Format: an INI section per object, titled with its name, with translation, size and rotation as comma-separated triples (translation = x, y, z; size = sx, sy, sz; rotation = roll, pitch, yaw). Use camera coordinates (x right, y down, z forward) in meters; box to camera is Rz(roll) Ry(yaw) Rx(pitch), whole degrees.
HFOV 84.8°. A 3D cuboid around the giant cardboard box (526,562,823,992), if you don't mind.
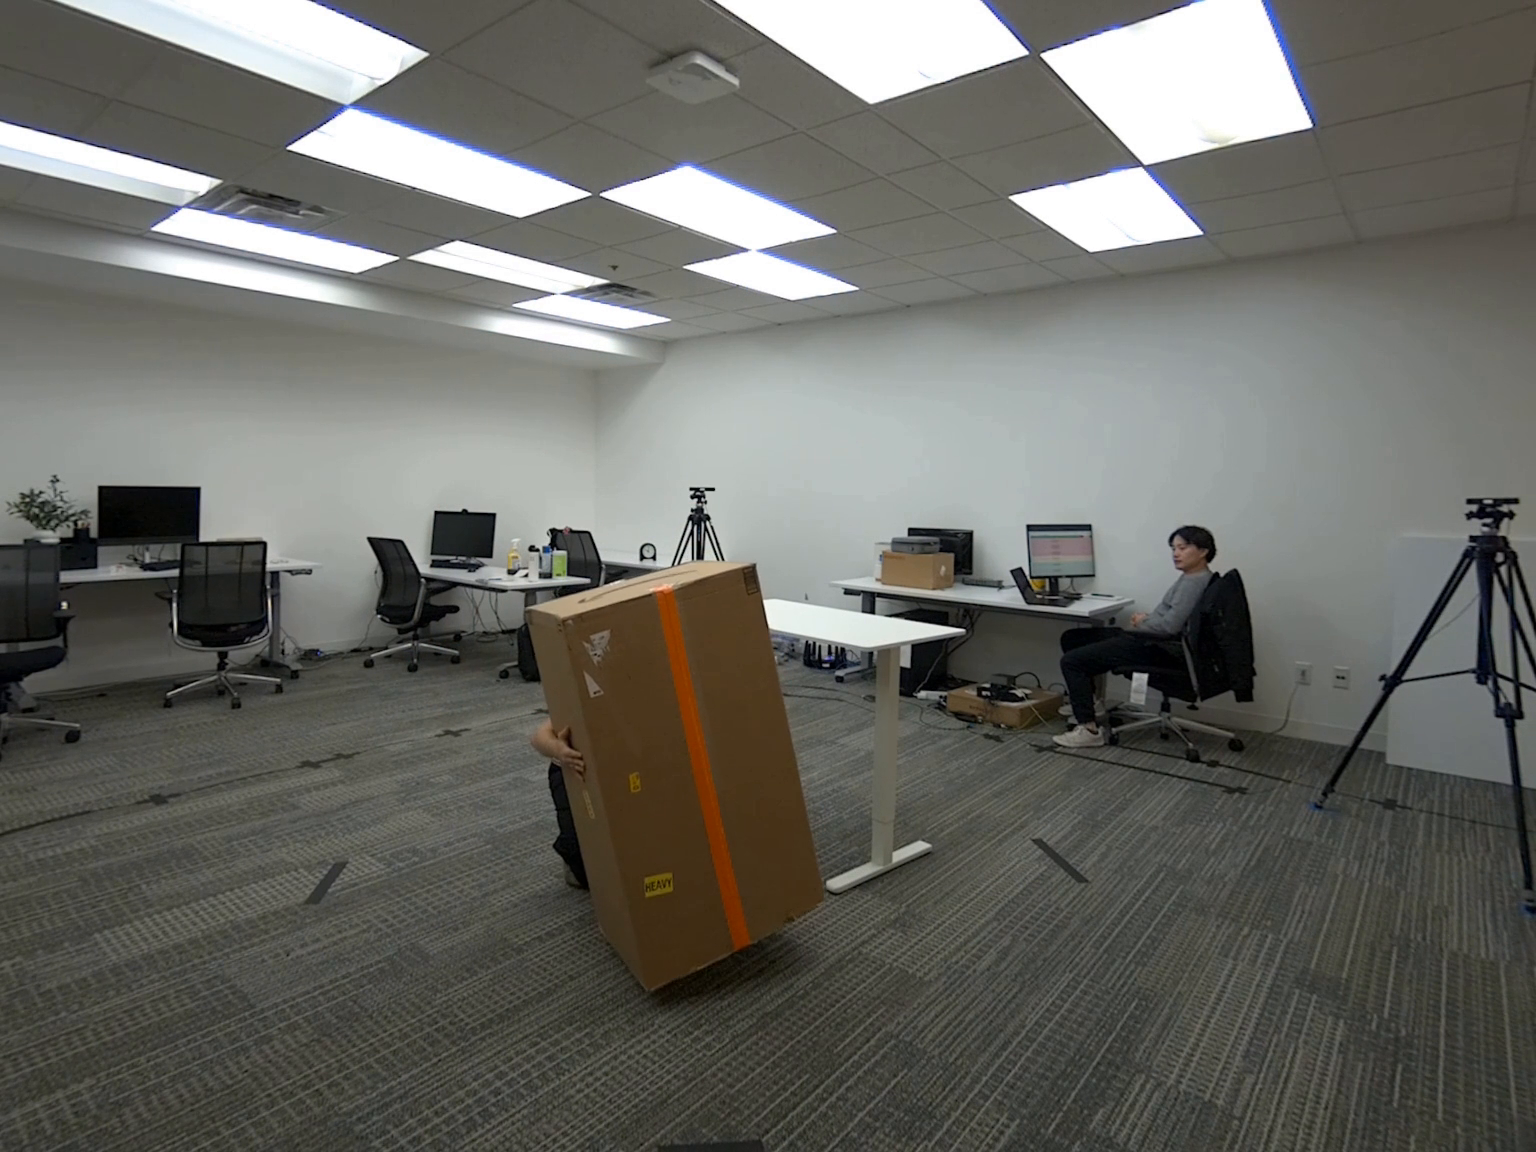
[giant cardboard box]
translation = -0.282, 0.521, 2.490
size = 0.567, 1.020, 0.436
rotation = -14, 6, -26
